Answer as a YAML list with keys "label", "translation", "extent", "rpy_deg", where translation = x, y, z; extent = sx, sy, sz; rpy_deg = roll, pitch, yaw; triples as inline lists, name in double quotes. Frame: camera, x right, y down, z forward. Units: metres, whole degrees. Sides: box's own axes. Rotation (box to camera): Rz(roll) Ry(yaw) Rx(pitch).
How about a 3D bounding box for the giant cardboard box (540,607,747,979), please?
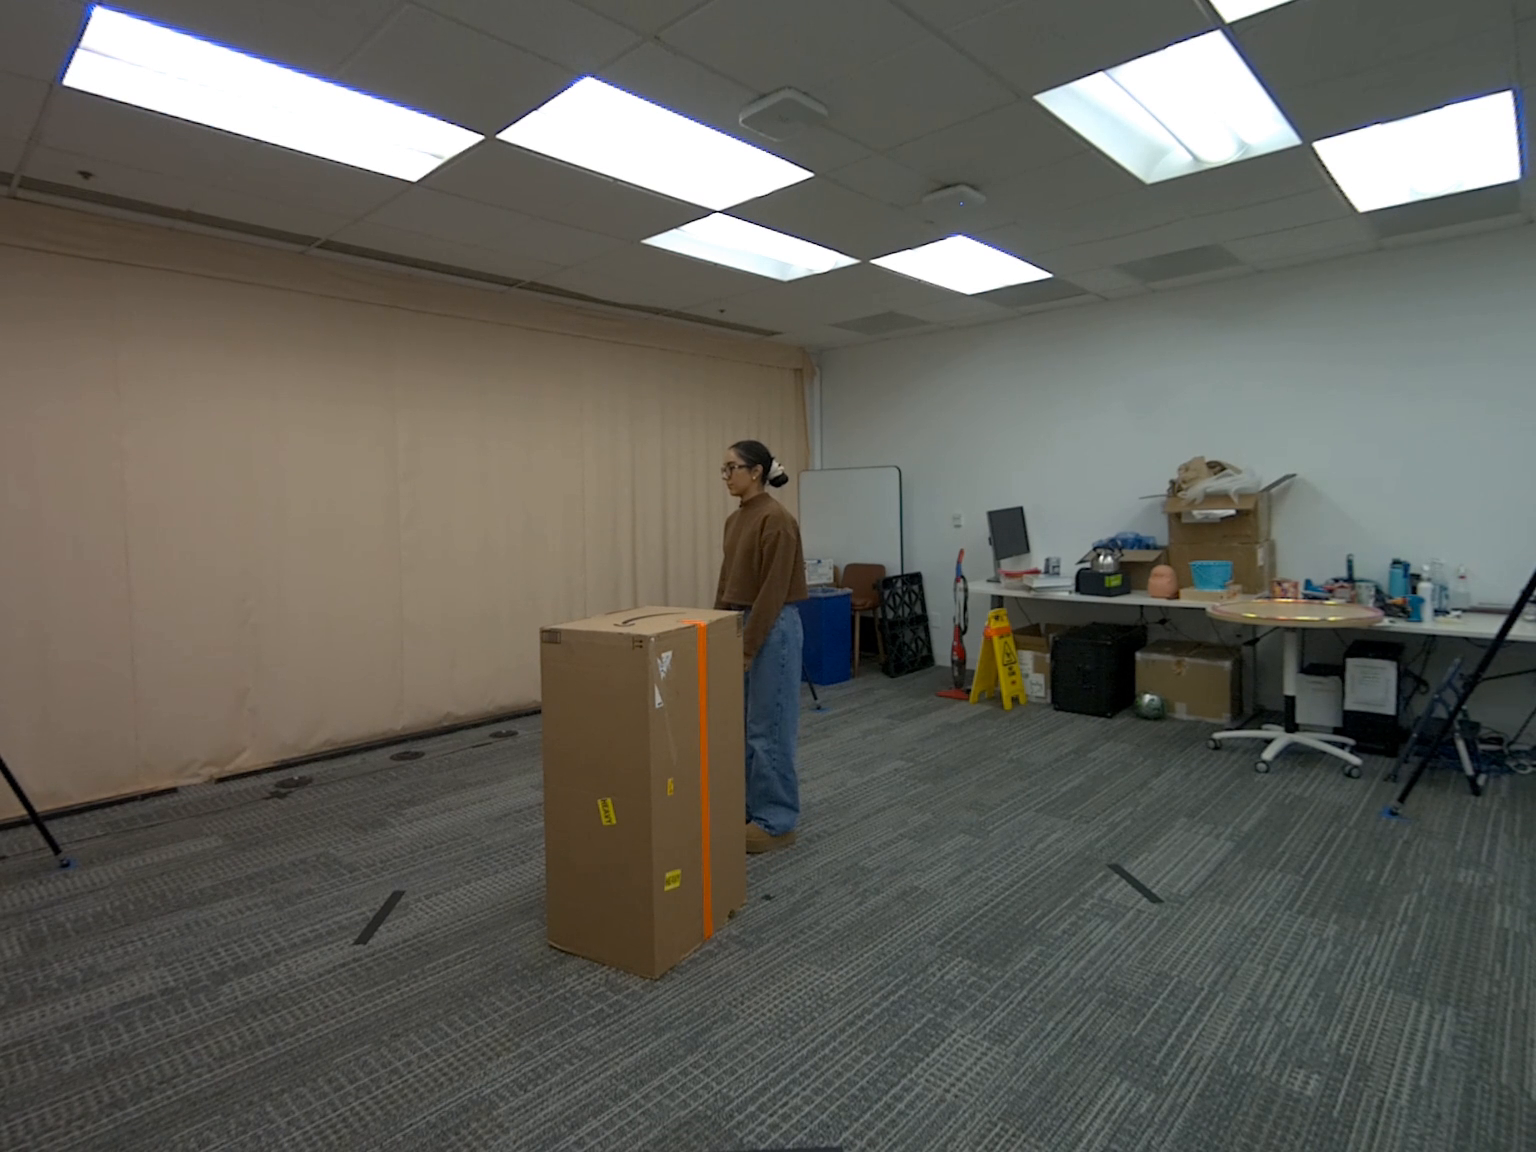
- label: "giant cardboard box"
  translation: [-0.399, 0.654, 2.798]
  extent: [0.438, 1.024, 0.562]
  rpy_deg: [1, 4, 29]
